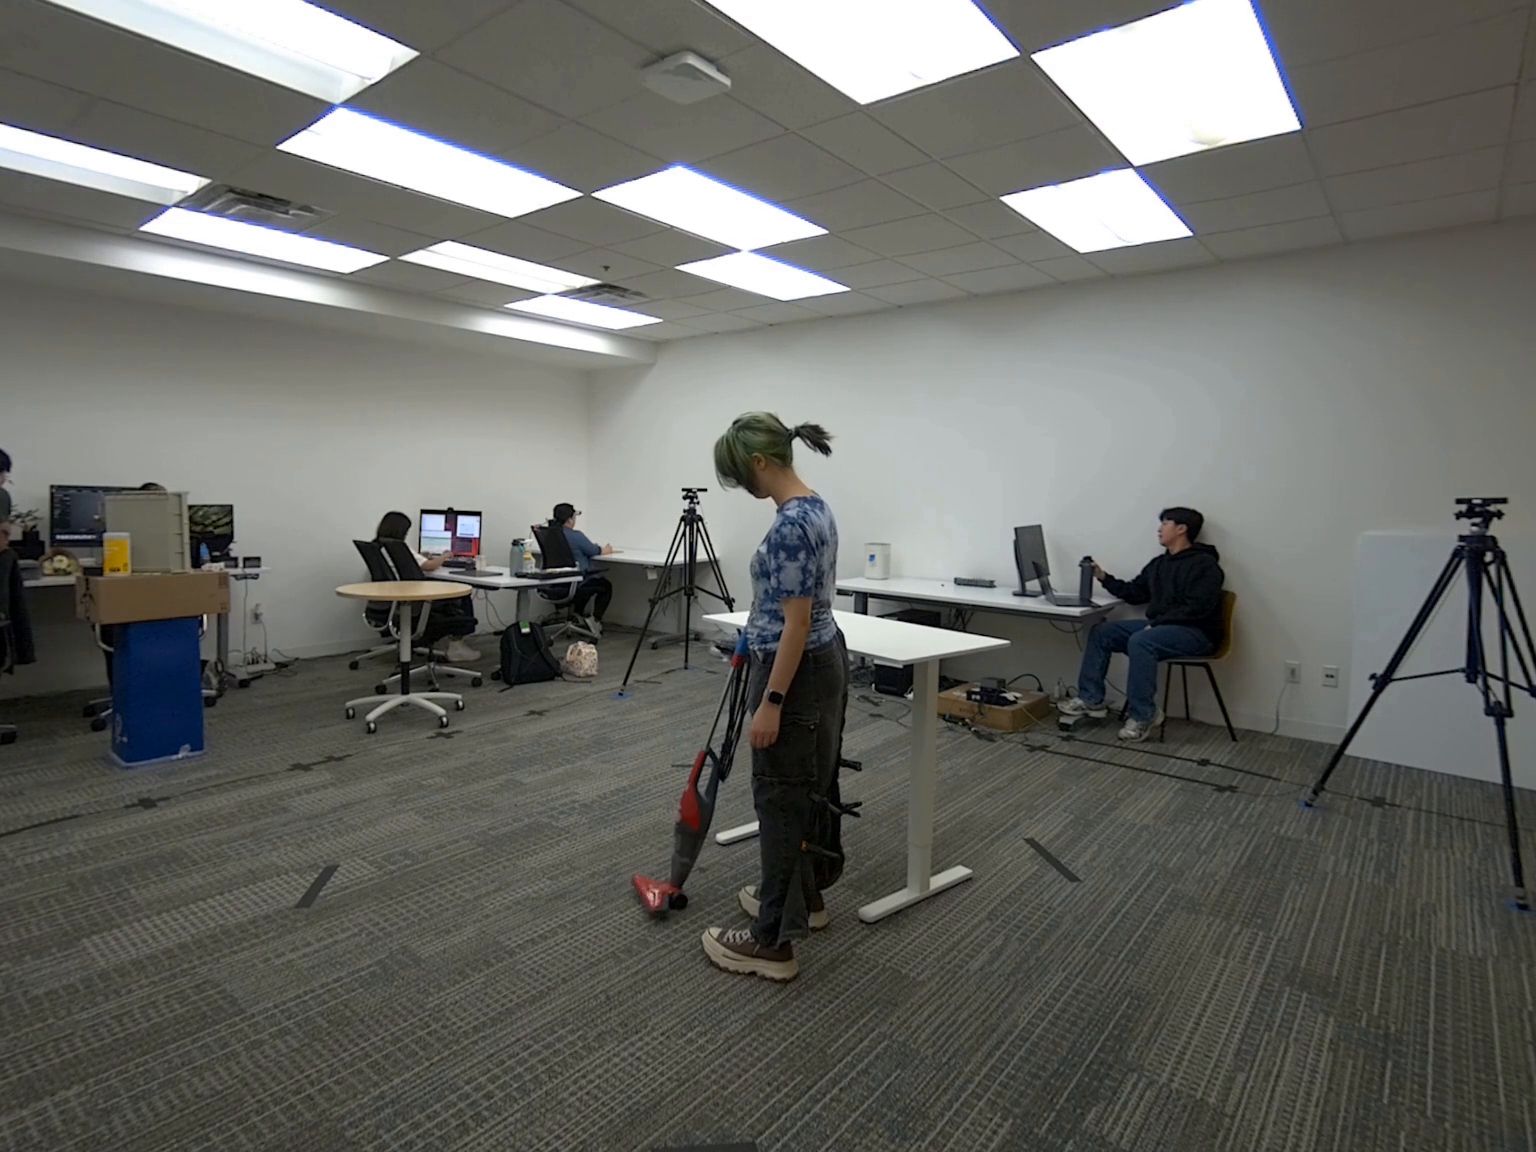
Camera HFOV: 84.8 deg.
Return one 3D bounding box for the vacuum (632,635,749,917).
[{"bbox_3d":[-0.188,0.601,2.890,0.139,1.052,0.260,23,-5,-29],"label":"vacuum"}]
